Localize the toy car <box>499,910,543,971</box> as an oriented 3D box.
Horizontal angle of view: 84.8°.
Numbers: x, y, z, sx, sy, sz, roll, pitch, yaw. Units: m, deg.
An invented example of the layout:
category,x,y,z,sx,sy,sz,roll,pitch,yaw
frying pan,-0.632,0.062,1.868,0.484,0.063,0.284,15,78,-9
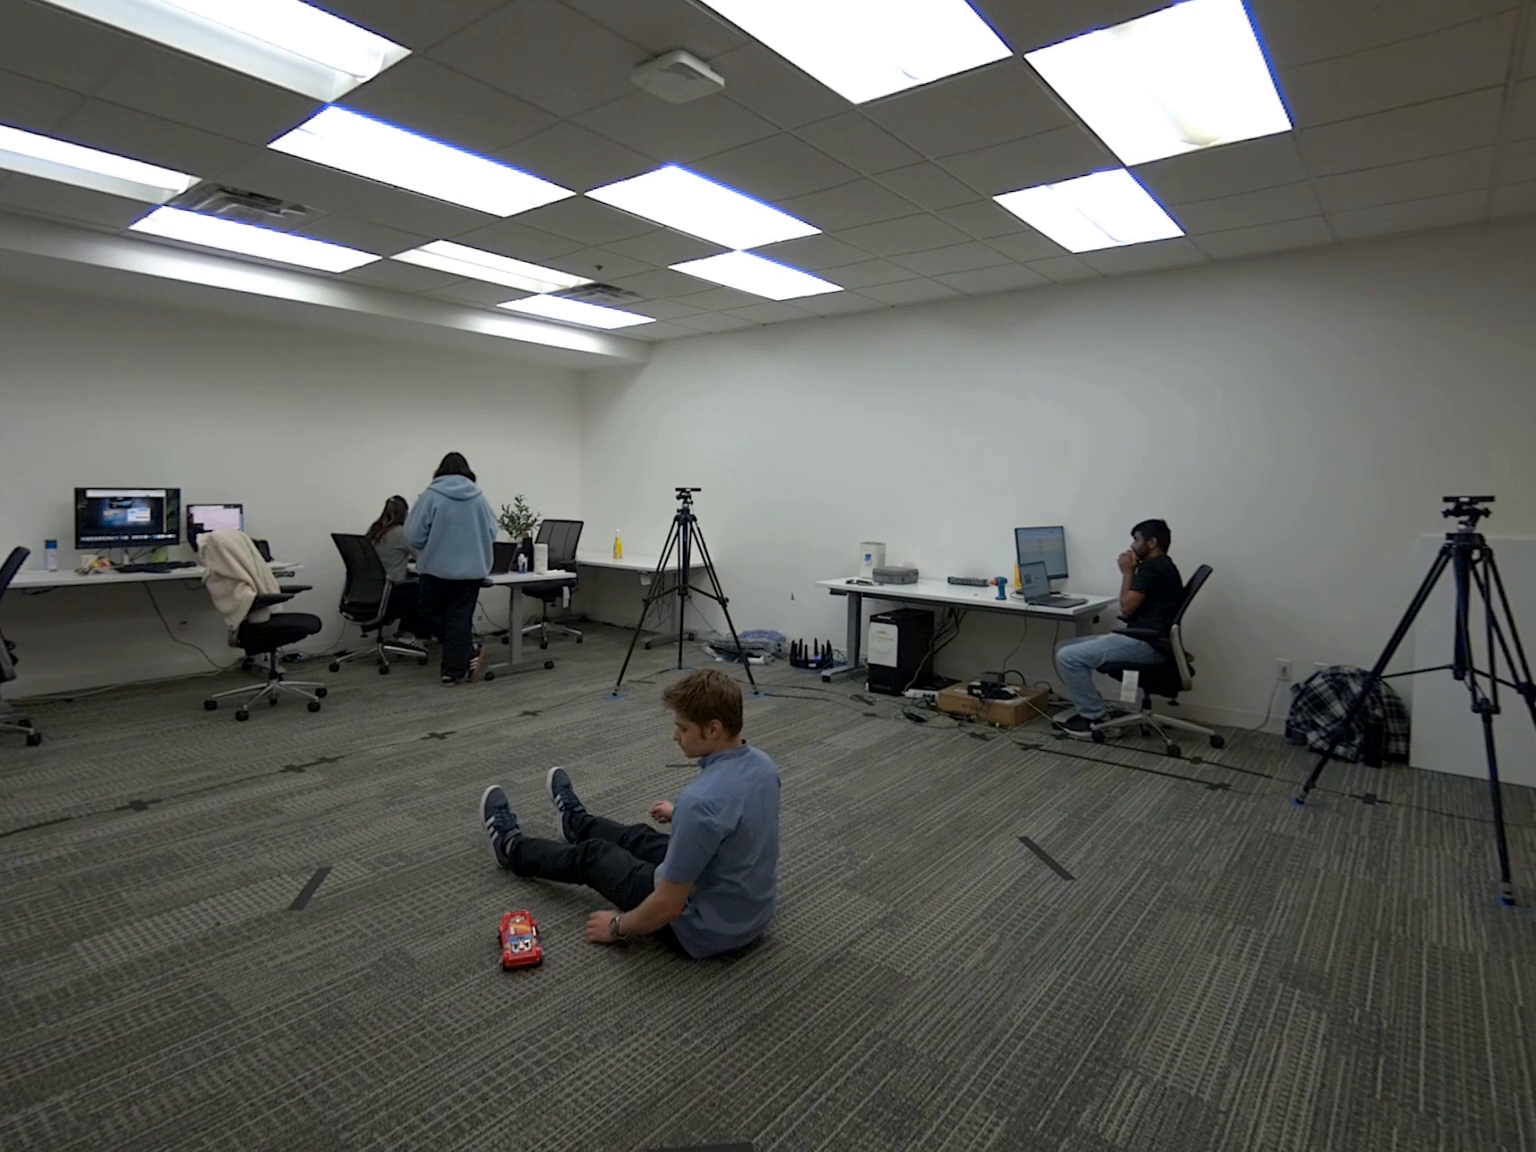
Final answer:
category,x,y,z,sx,sy,sz,roll,pitch,yaw
toy car,-0.757,1.091,2.539,0.127,0.082,0.263,-2,16,-23
